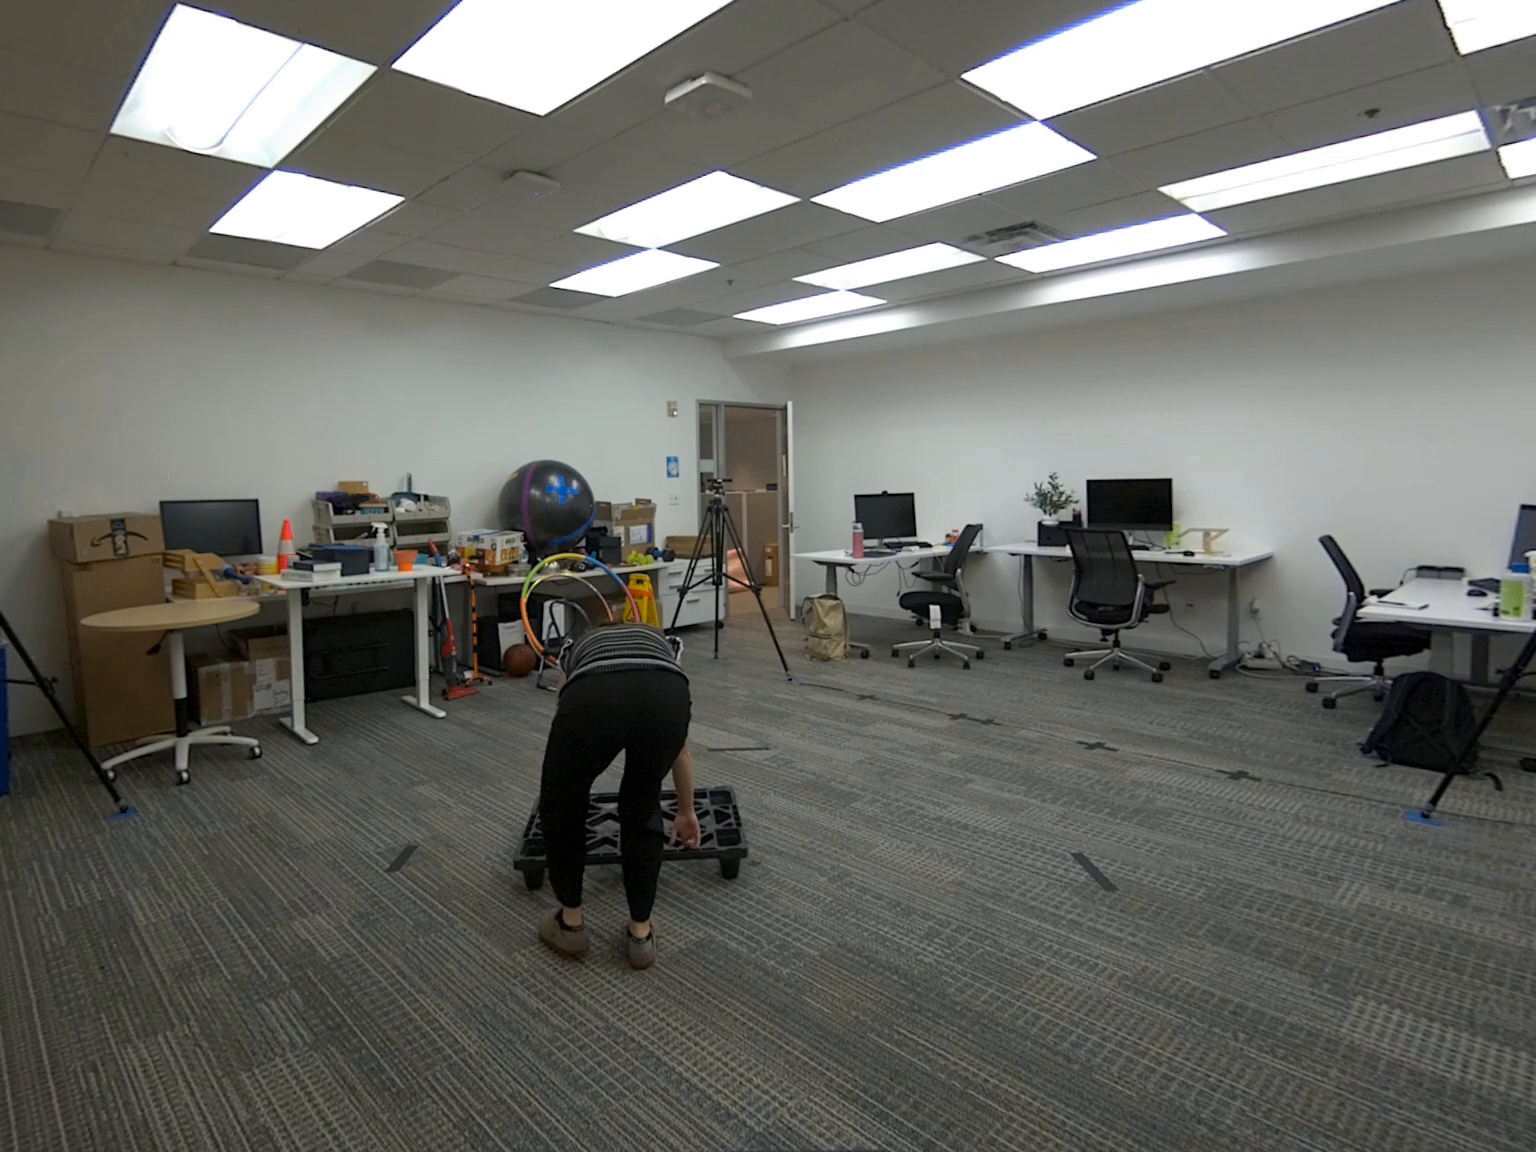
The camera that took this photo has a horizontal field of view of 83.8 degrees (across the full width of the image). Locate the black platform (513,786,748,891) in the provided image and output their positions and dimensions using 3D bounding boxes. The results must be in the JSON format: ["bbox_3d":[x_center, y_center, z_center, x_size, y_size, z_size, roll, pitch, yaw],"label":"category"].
[{"bbox_3d":[-0.498,0.973,3.192,0.802,0.143,0.610,-2,5,-5],"label":"black platform"}]
